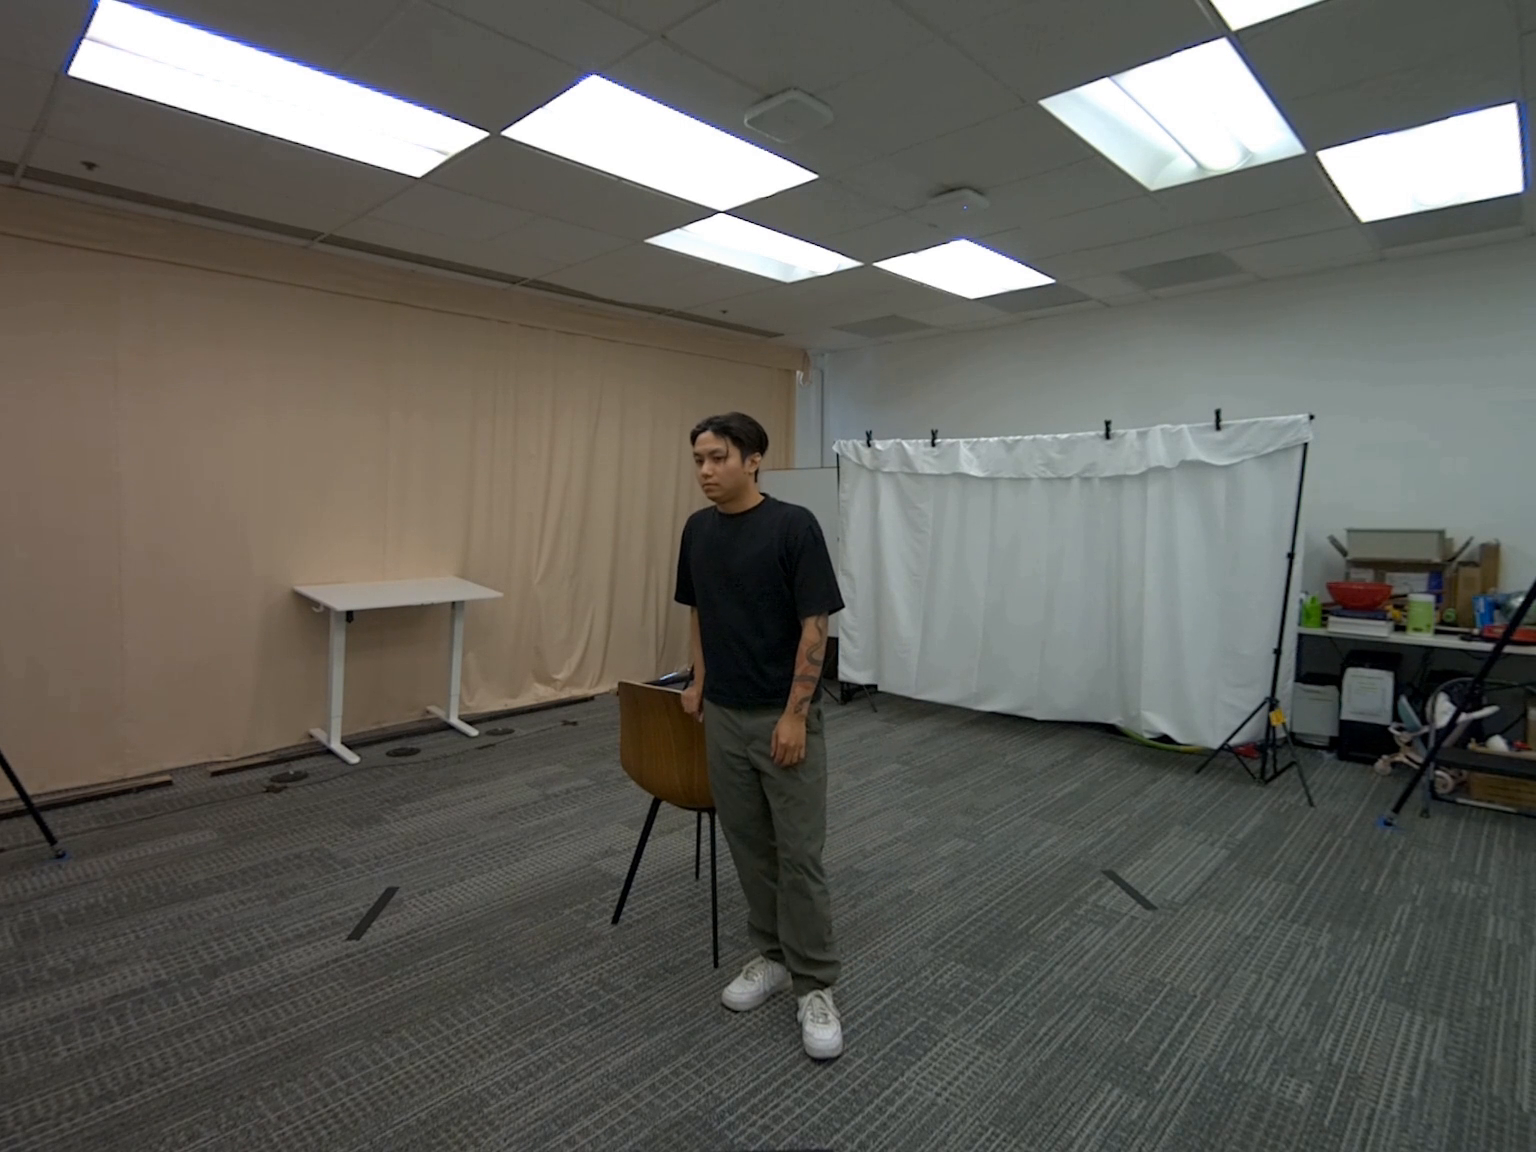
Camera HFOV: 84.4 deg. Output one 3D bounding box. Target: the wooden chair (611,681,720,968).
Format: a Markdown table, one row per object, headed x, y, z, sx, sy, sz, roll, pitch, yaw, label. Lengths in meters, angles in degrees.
| x | y | z | sx | sy | sz | roll | pitch | yaw | label |
| --- | --- | --- | --- | --- | --- | --- | --- | --- | --- |
| -0.211 | 0.732 | 2.830 | 0.493 | 0.873 | 0.509 | 2 | 8 | 37 | wooden chair |
